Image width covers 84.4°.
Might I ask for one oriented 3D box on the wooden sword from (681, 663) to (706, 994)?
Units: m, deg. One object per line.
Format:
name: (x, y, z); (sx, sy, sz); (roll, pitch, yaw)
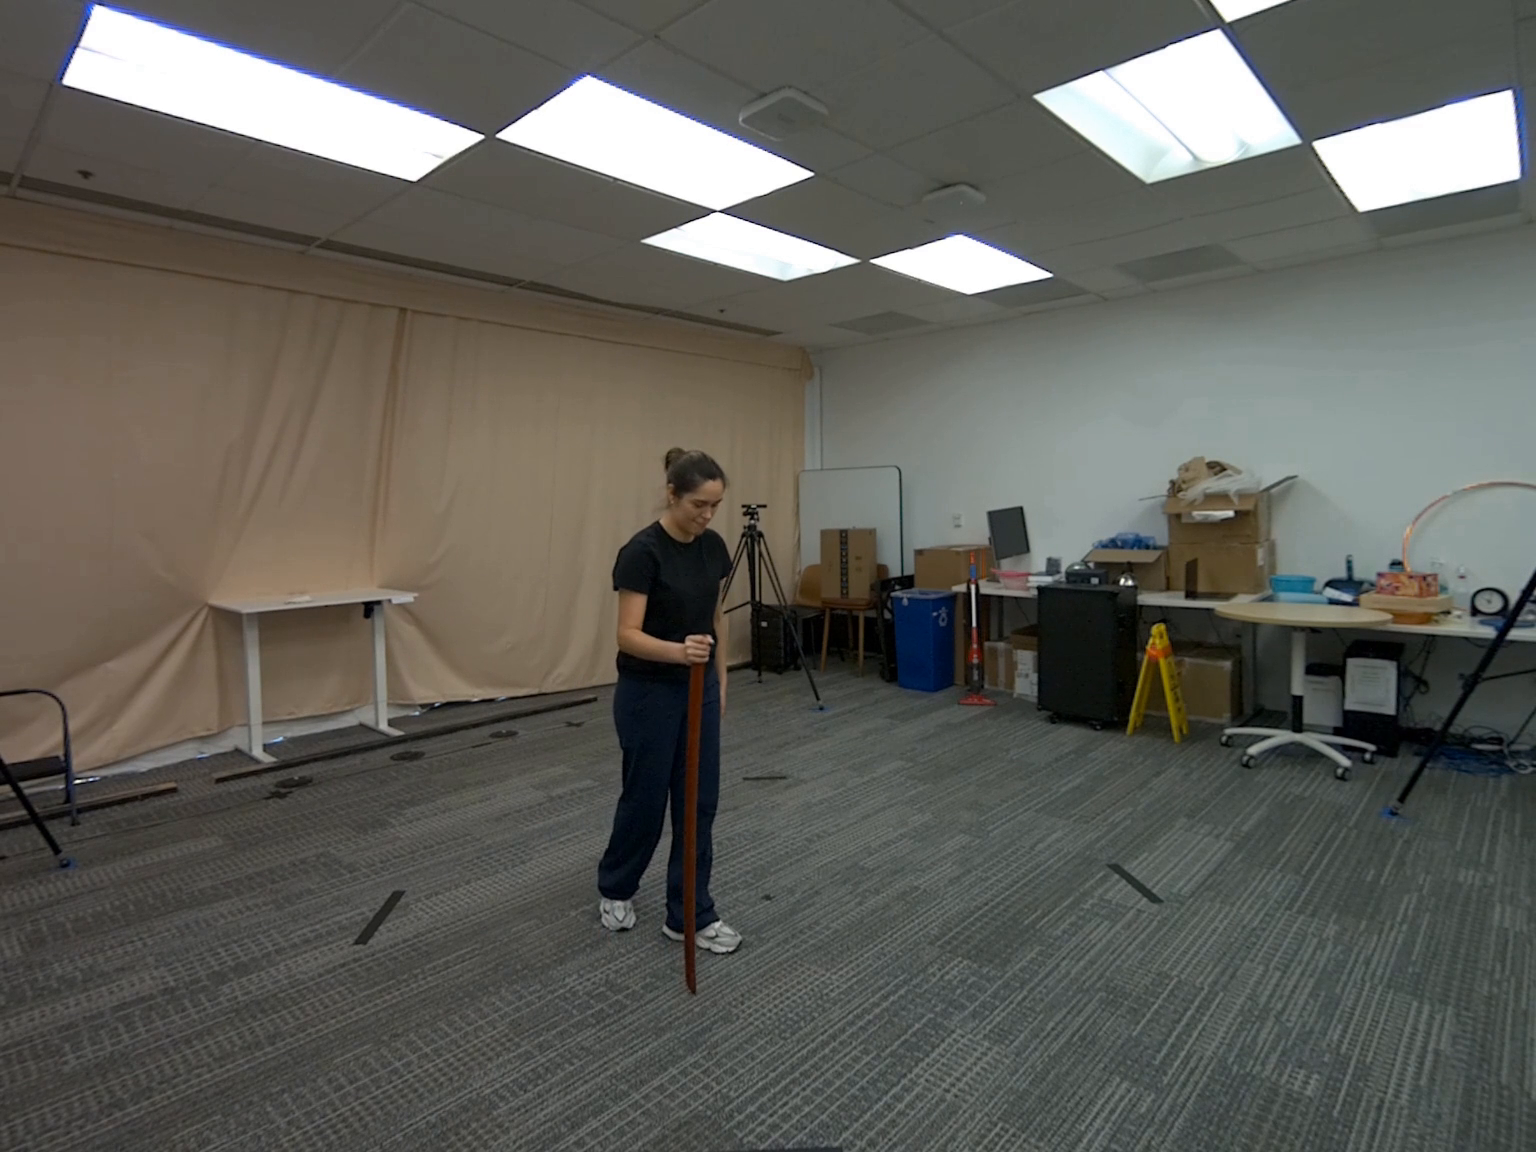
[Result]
wooden sword: (-0.193, 0.688, 2.377); (0.025, 1.022, 0.050); (3, 4, 33)
